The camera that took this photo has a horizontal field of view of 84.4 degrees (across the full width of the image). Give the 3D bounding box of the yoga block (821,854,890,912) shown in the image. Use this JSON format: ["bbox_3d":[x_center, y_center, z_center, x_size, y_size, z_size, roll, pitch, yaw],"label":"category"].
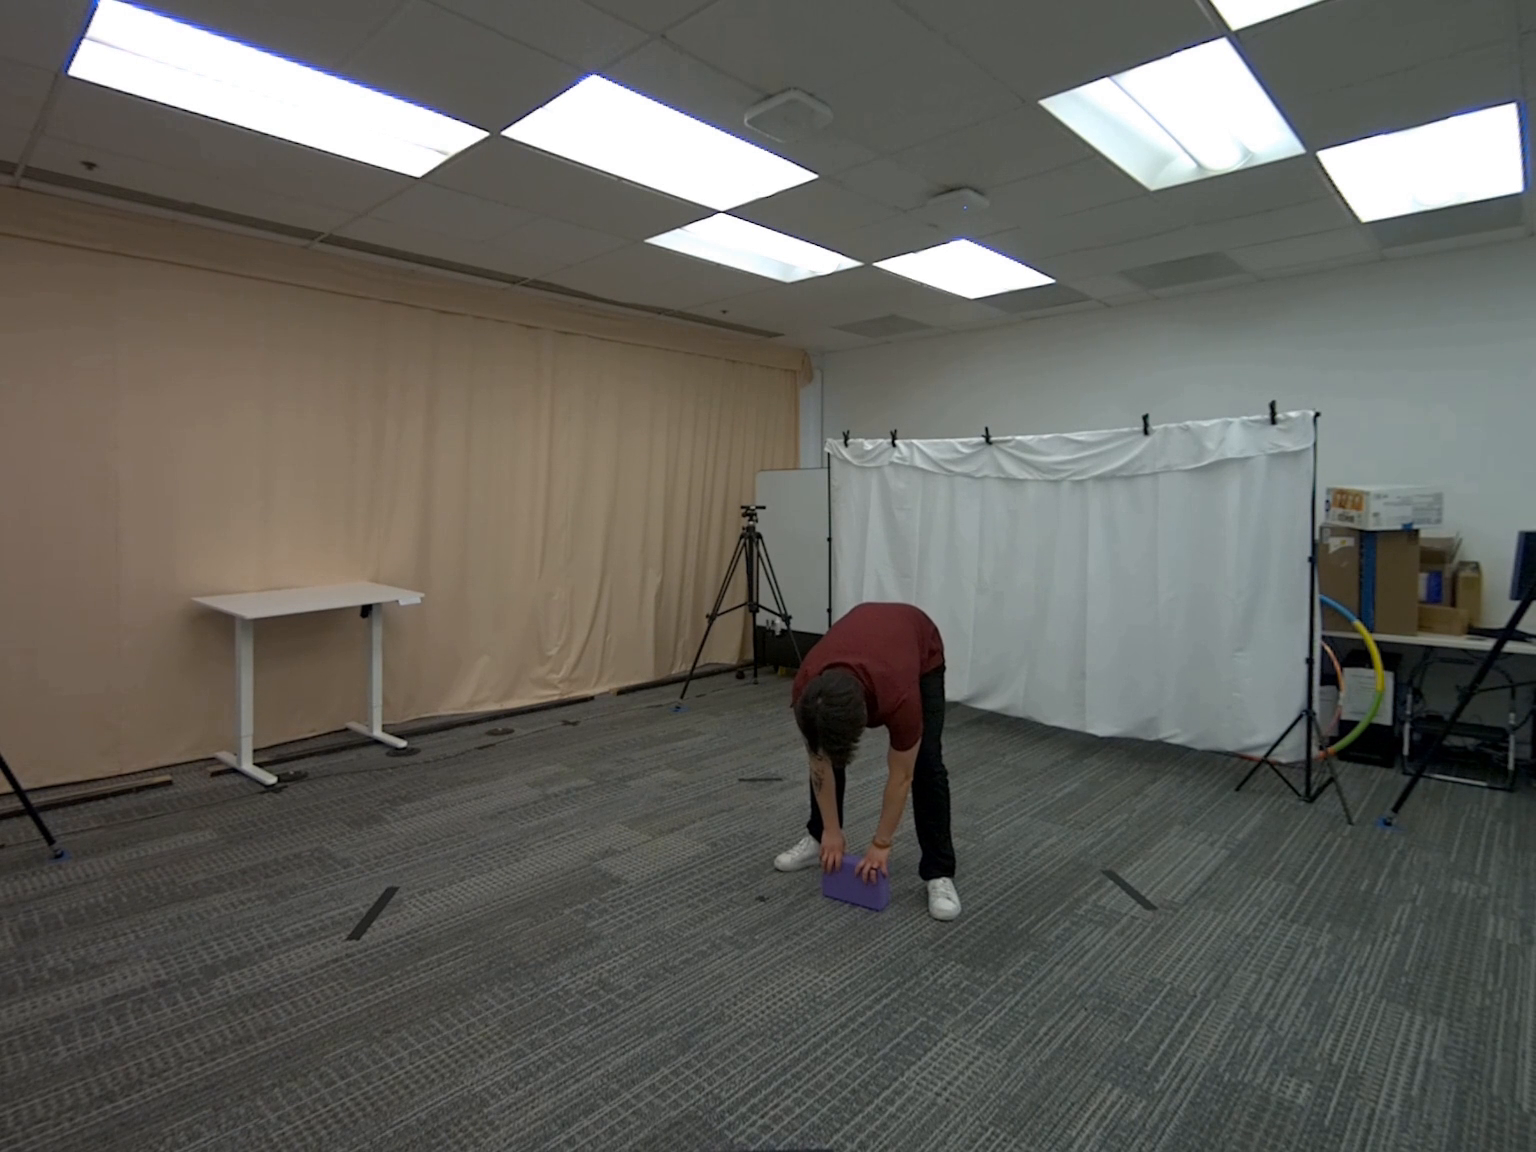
[{"bbox_3d":[0.318,1.073,2.973,0.236,0.149,0.074,2,-3,32],"label":"yoga block"}]
